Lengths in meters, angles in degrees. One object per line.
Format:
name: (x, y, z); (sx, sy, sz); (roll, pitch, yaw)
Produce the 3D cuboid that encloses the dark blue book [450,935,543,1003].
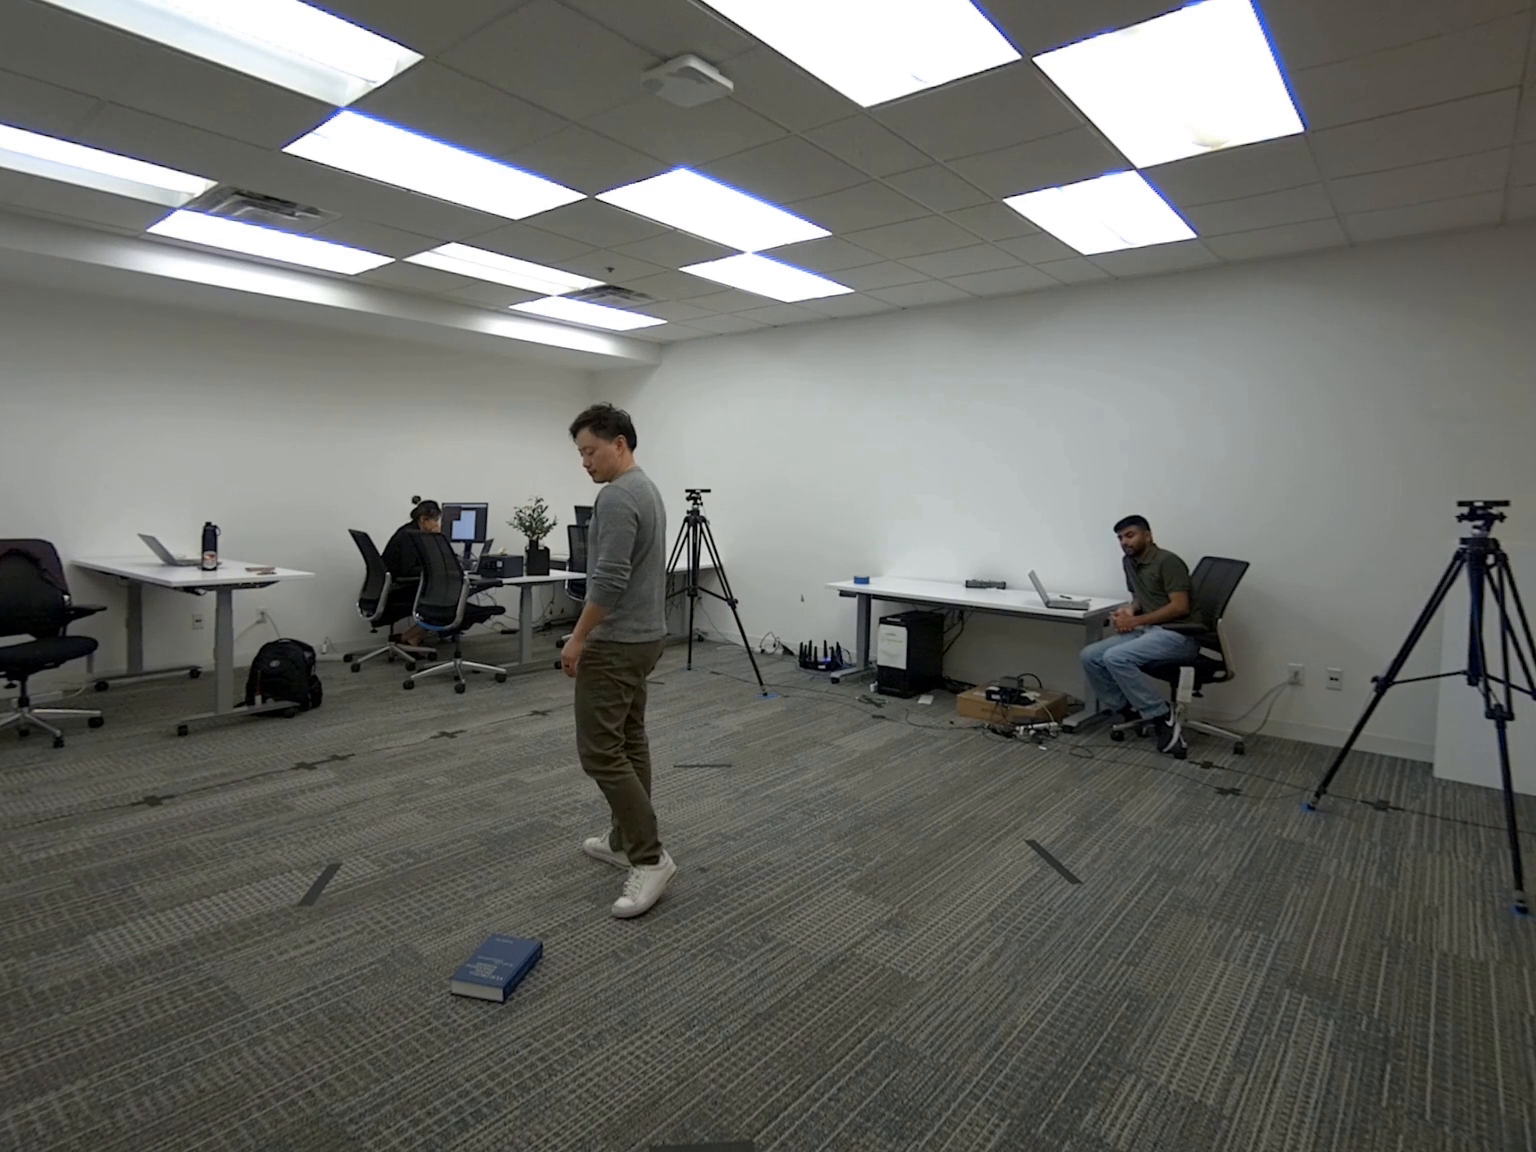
dark blue book: (-0.777, 1.106, 2.419); (0.166, 0.045, 0.242); (2, 5, 11)
